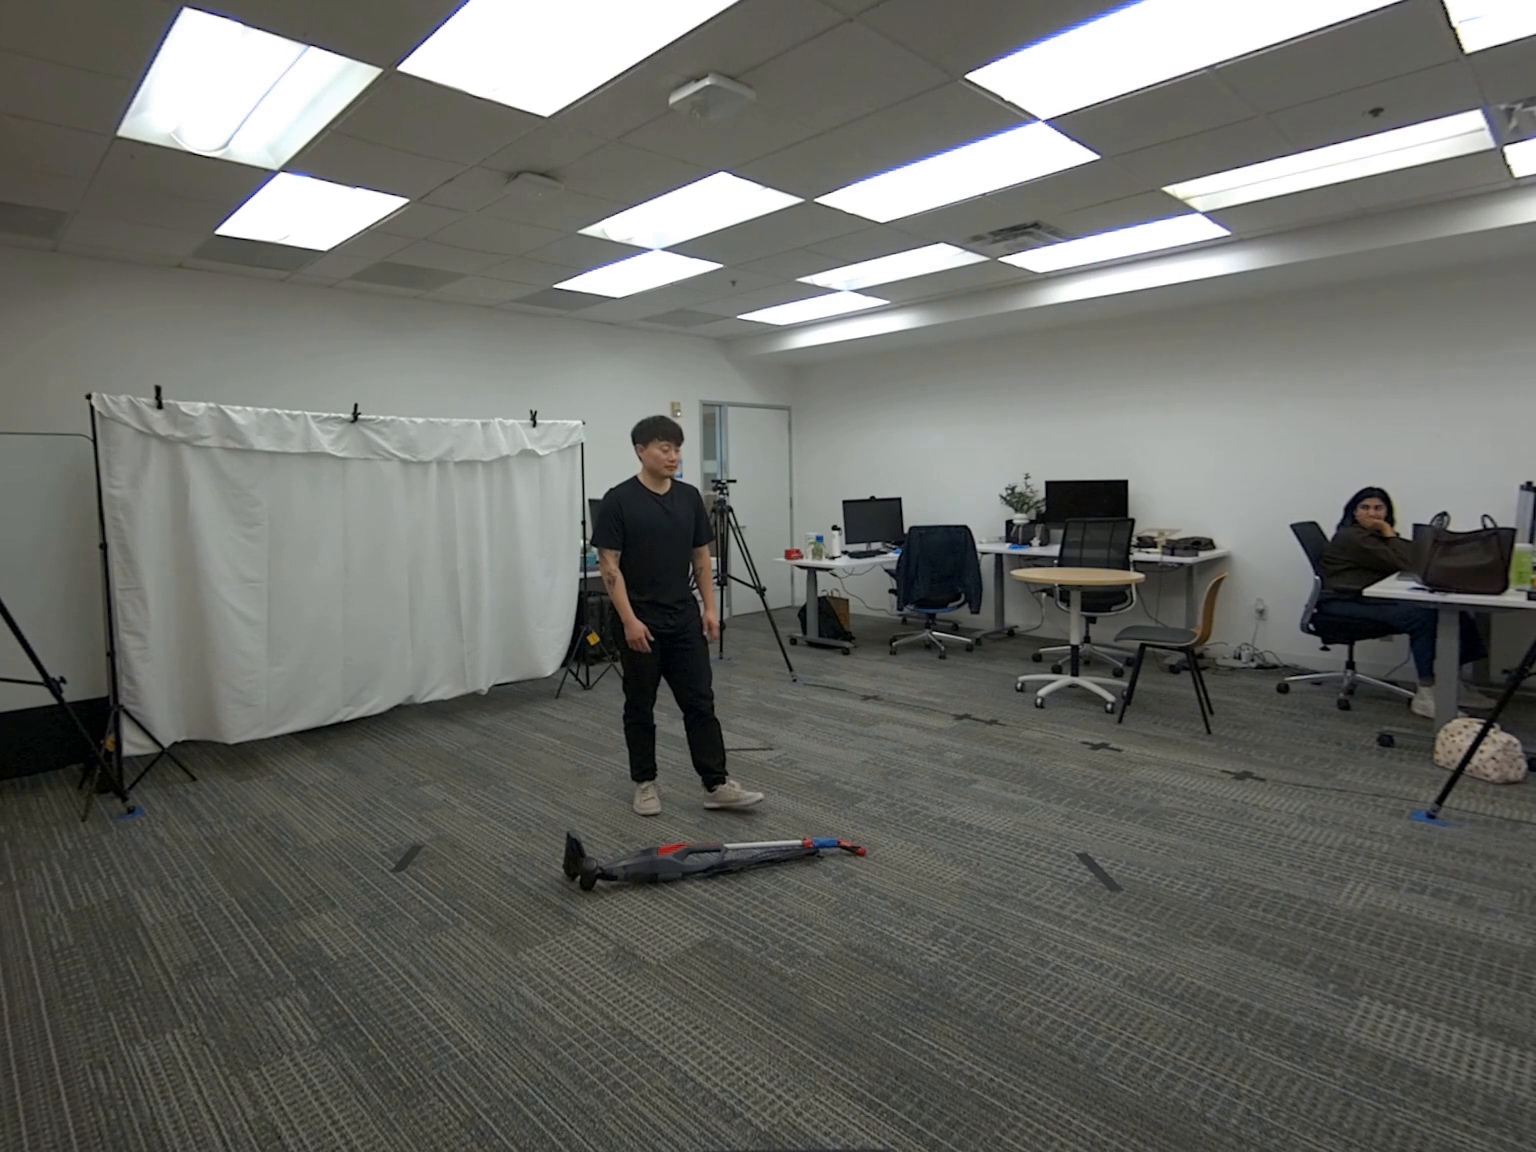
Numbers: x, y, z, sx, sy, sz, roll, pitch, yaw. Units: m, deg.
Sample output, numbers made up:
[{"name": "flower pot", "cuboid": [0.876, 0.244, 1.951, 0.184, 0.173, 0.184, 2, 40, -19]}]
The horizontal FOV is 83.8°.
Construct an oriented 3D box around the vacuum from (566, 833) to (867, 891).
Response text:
[{"name": "vacuum", "cuboid": [-0.148, 1.007, 3.044, 1.036, 0.248, 0.149, 2, 40, -13]}]
